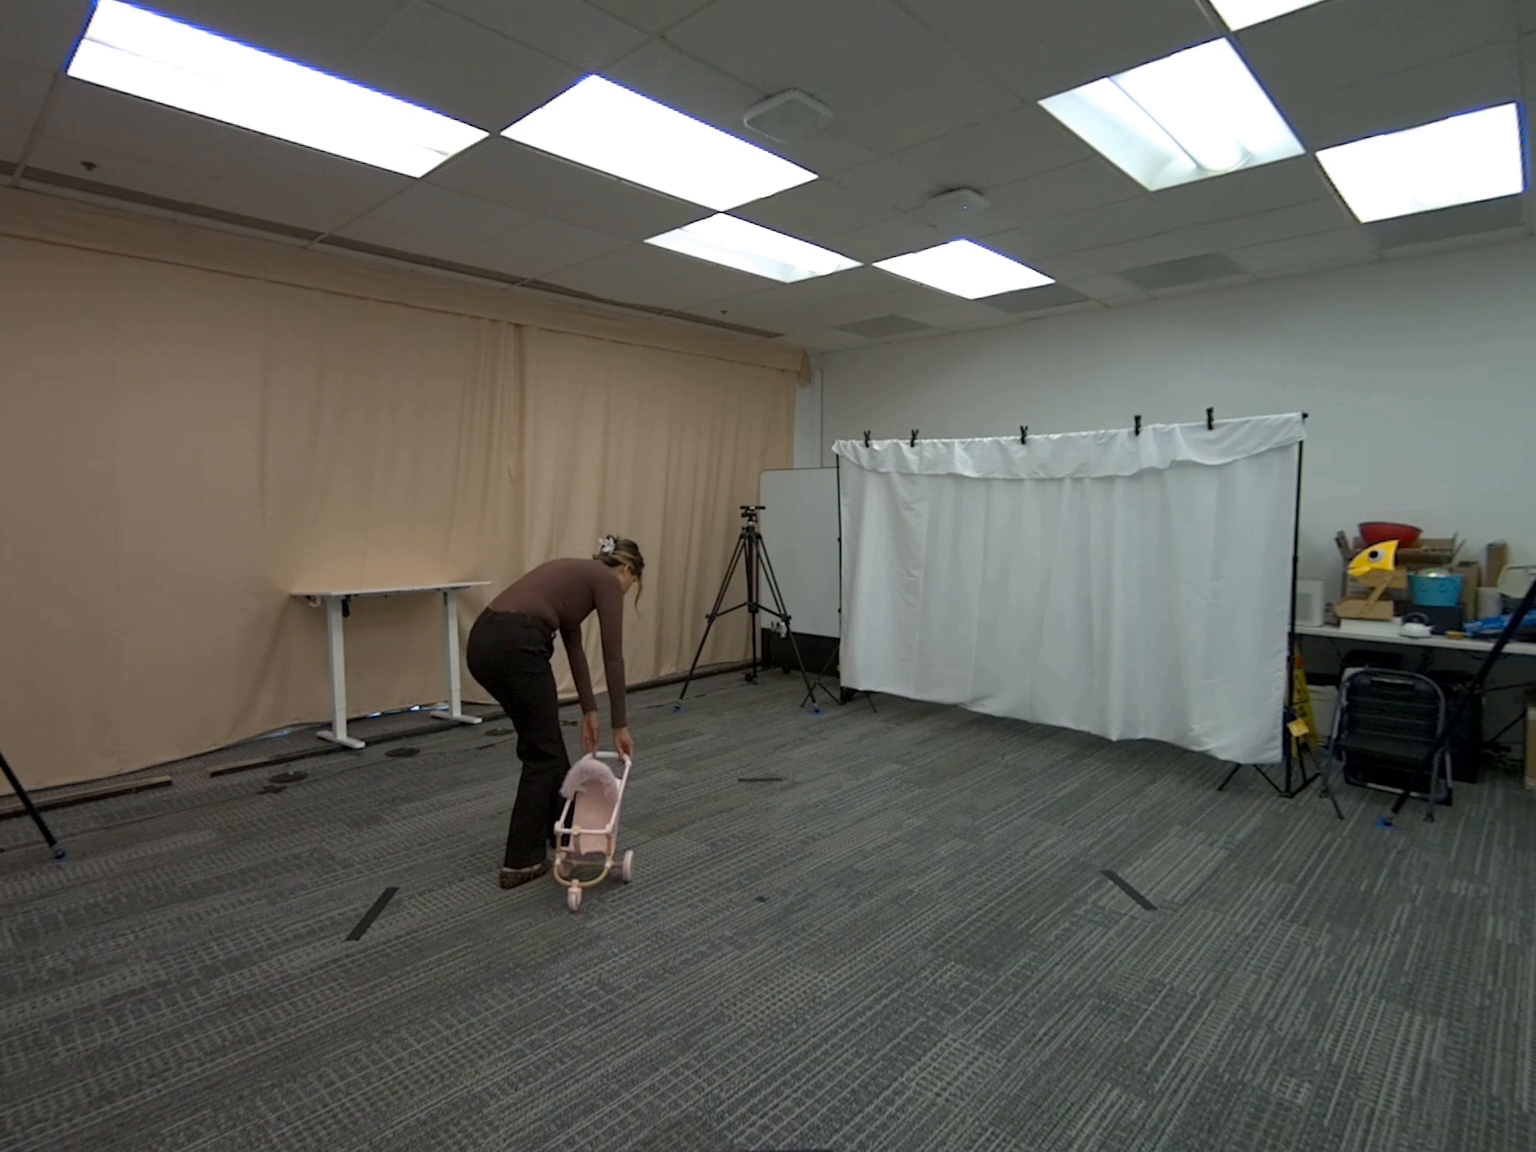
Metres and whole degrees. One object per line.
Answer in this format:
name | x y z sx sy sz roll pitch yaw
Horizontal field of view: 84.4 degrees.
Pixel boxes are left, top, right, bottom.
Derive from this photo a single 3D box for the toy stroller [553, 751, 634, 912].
toy stroller | -0.651 0.915 3.084 0.285 0.539 0.334 0 -14 11
